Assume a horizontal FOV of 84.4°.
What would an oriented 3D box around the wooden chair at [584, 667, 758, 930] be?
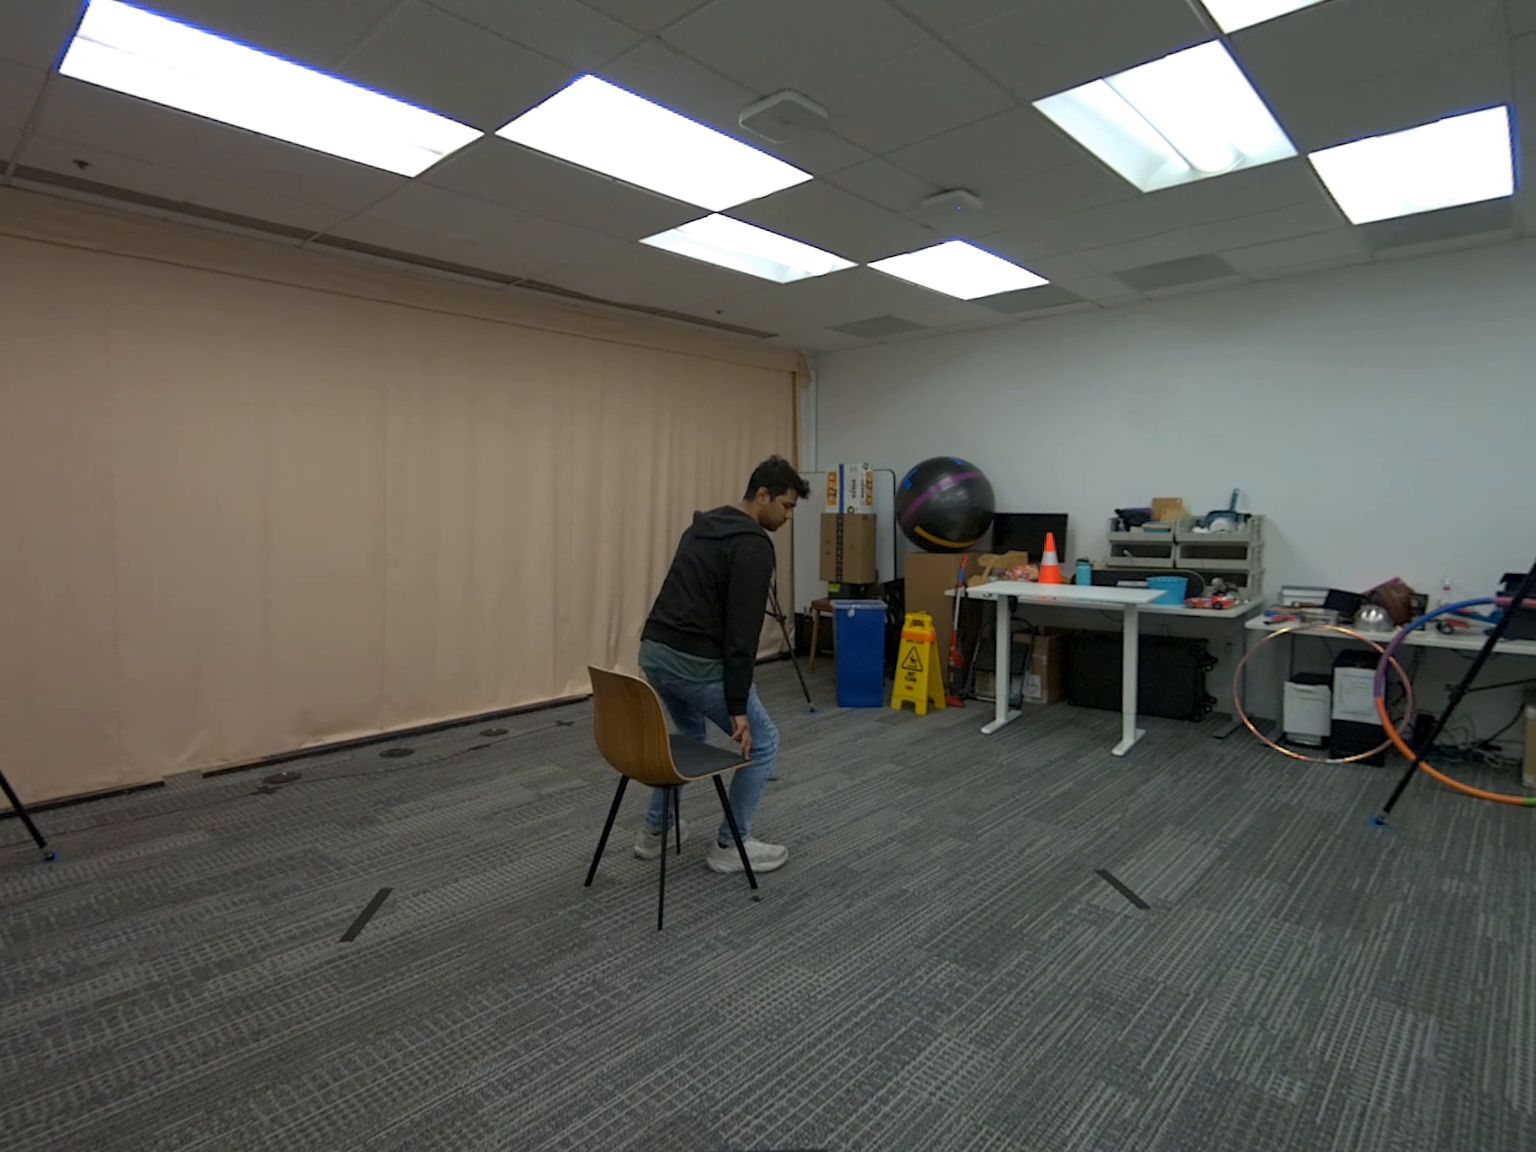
[{"bbox_3d":[-0.345,0.709,3.054,0.508,0.874,0.494,-9,8,-43],"label":"wooden chair"}]
